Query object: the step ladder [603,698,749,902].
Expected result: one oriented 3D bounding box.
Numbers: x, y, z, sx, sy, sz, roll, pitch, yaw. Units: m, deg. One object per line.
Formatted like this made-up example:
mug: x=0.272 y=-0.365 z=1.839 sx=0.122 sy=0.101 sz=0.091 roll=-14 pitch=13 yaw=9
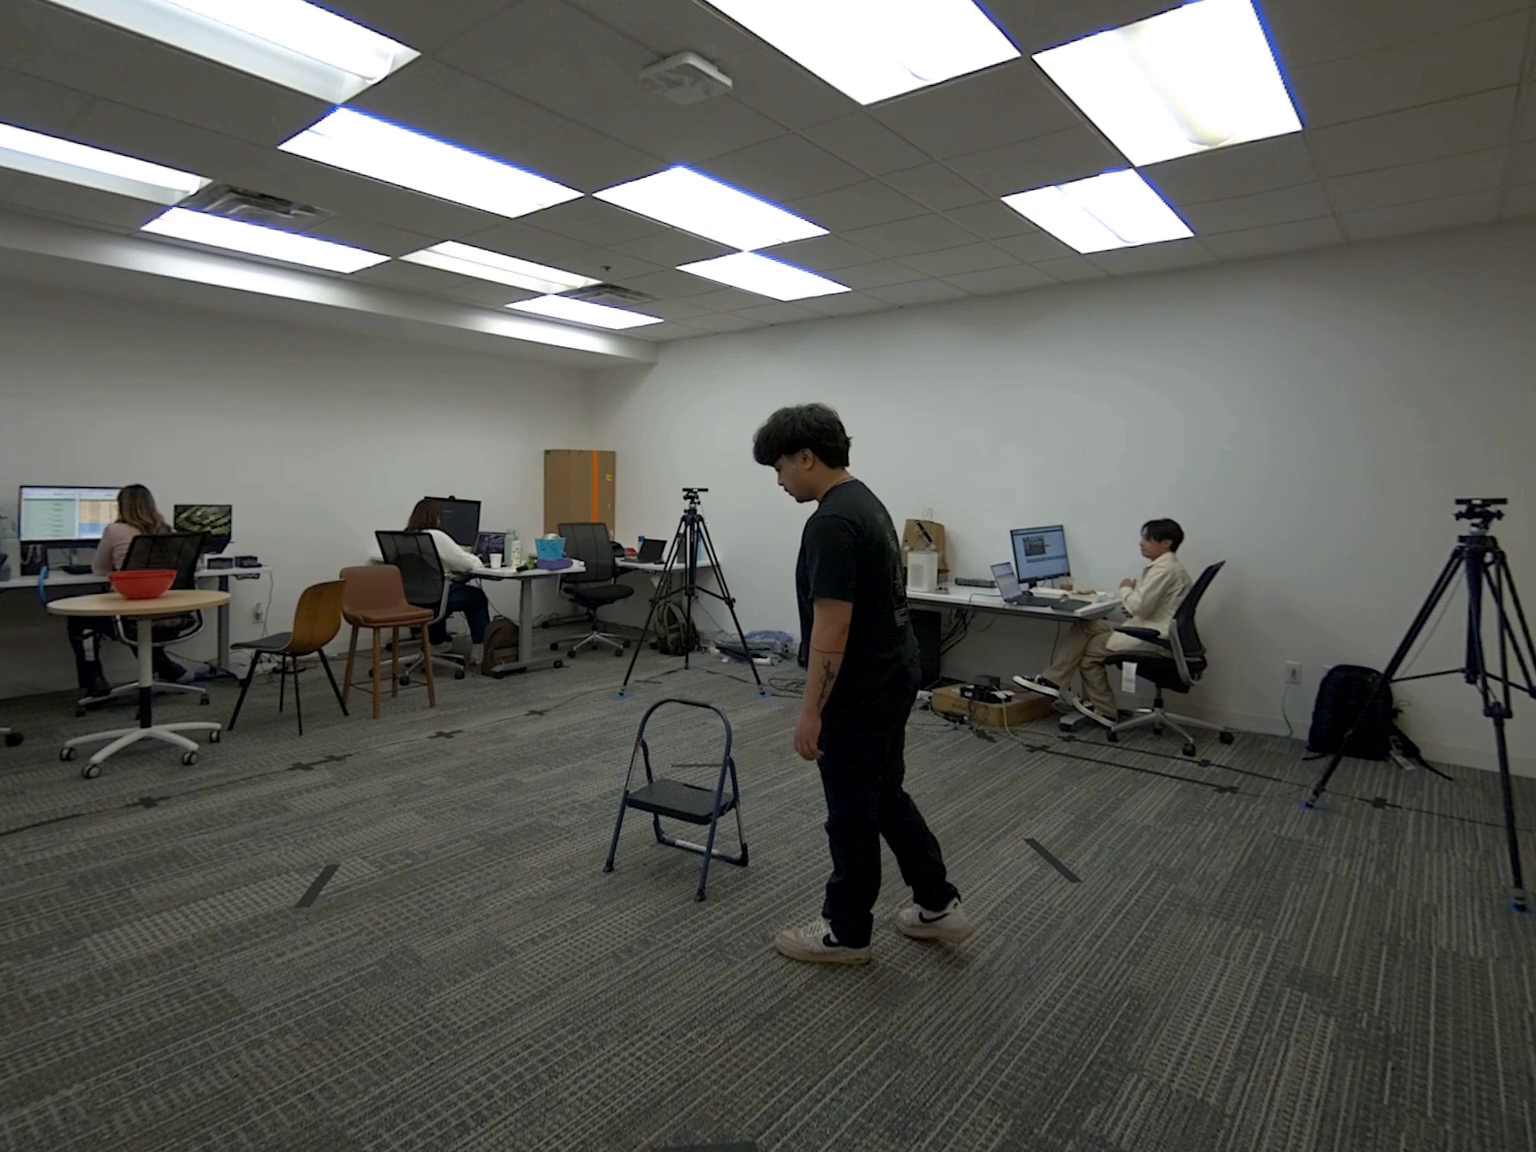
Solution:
step ladder: x=-0.335 y=0.764 z=3.100 sx=0.443 sy=0.604 sz=0.340 roll=3 pitch=4 yaw=30
